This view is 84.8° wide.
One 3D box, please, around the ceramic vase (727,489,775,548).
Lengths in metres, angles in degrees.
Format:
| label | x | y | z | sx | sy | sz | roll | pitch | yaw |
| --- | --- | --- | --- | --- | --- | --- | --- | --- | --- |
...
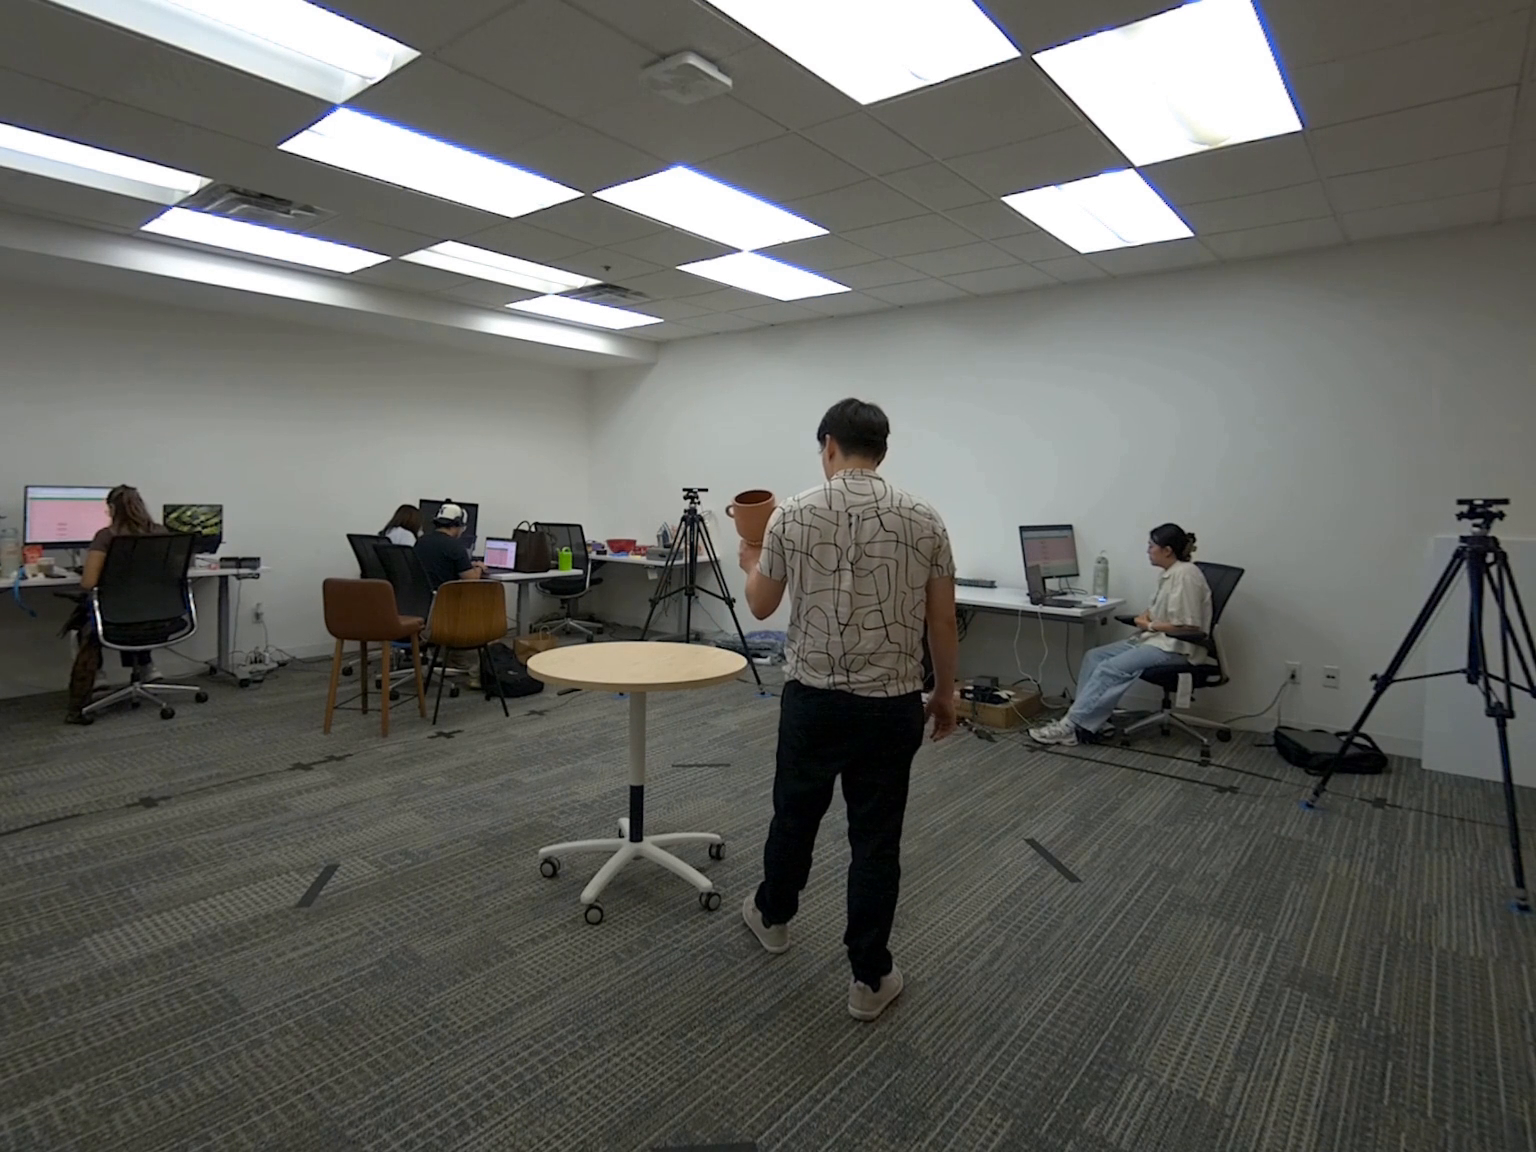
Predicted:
| label | x | y | z | sx | sy | sz | roll | pitch | yaw |
| --- | --- | --- | --- | --- | --- | --- | --- | --- | --- |
| ceramic vase | -0.046 | -0.147 | 2.670 | 0.132 | 0.215 | 0.165 | -18 | 25 | -24 |
